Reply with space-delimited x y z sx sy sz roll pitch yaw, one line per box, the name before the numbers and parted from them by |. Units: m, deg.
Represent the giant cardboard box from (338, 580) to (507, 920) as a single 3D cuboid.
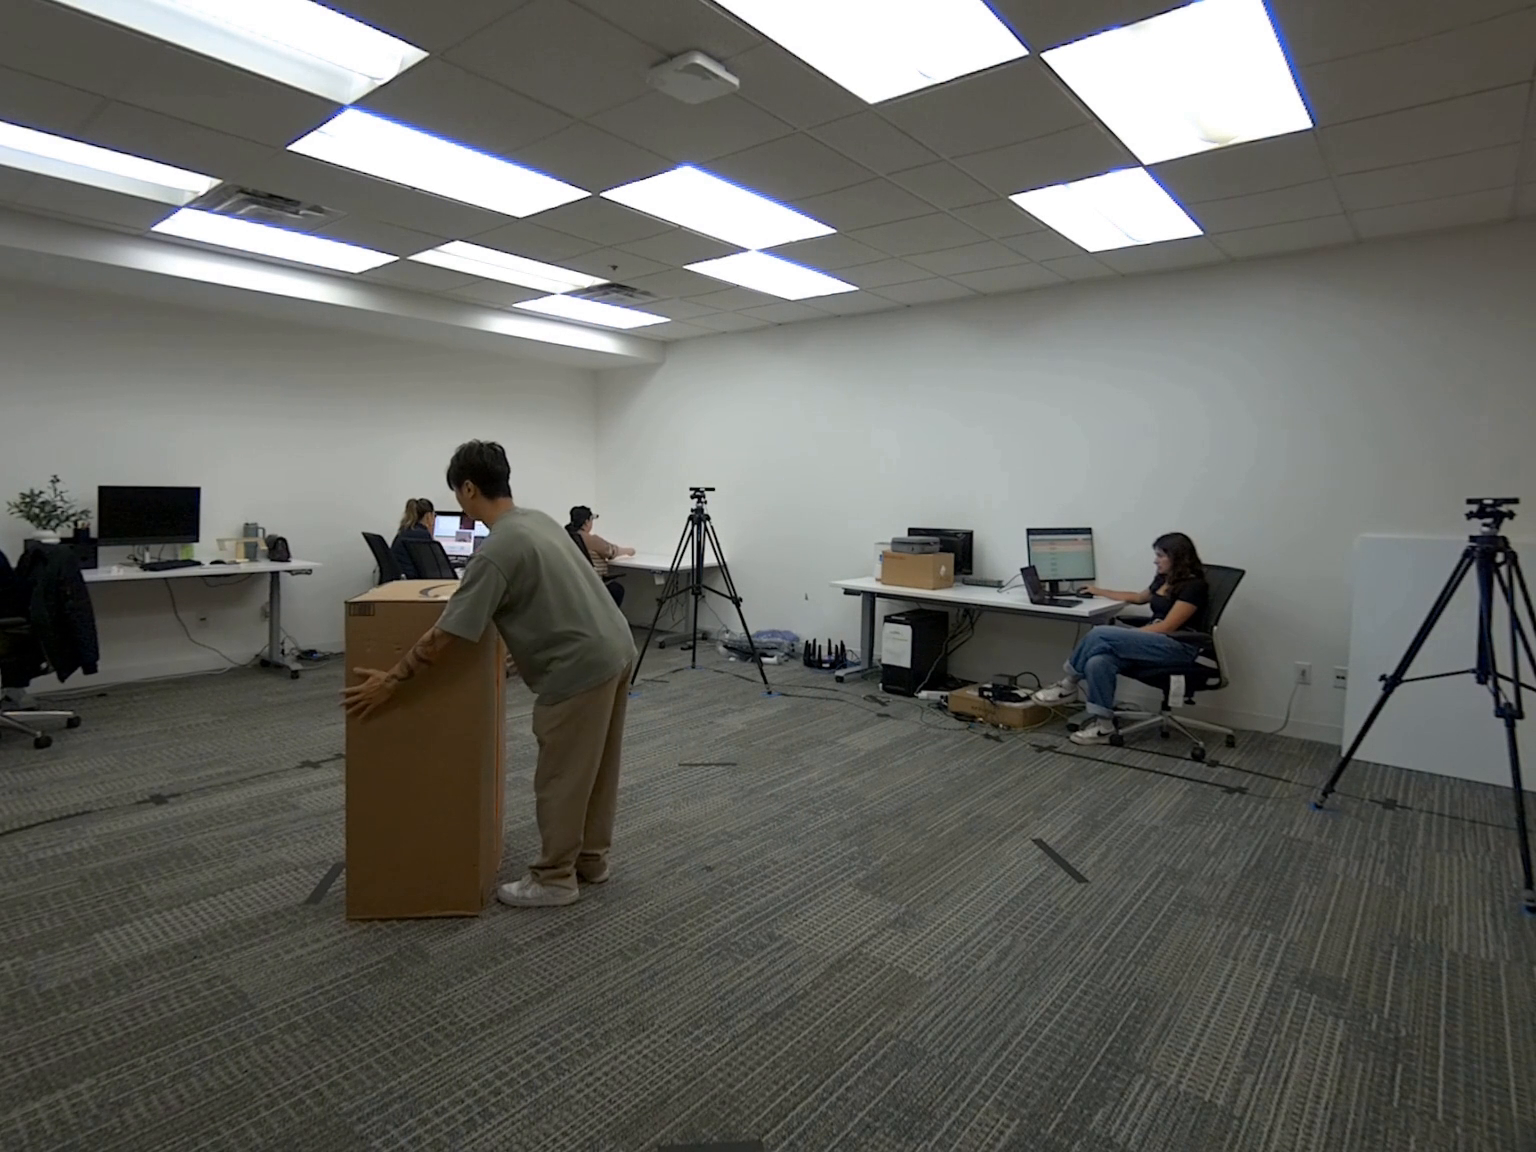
giant cardboard box | -1.179 0.558 2.969 0.423 1.023 0.584 1 3 -9
